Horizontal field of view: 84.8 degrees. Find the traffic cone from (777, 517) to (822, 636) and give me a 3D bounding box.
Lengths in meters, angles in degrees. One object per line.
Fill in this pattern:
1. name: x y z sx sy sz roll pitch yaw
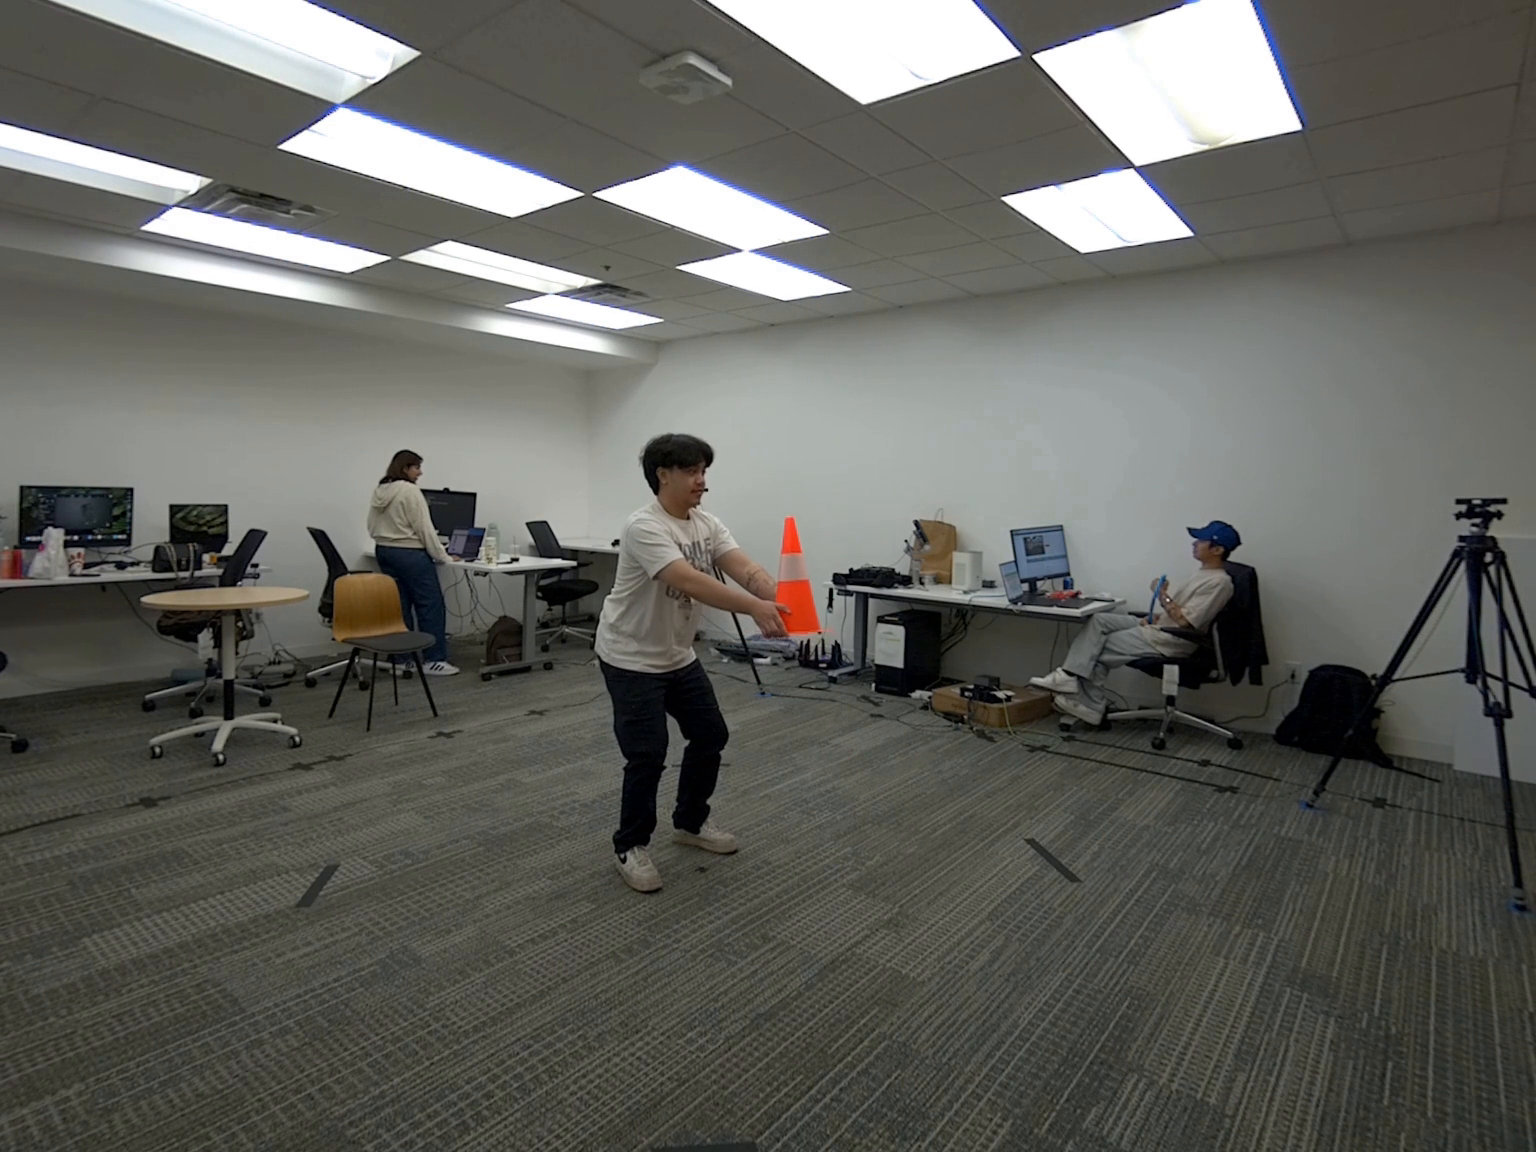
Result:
1. traffic cone: 0.081 -0.003 2.825 0.207 0.384 0.200 -3 -1 20
